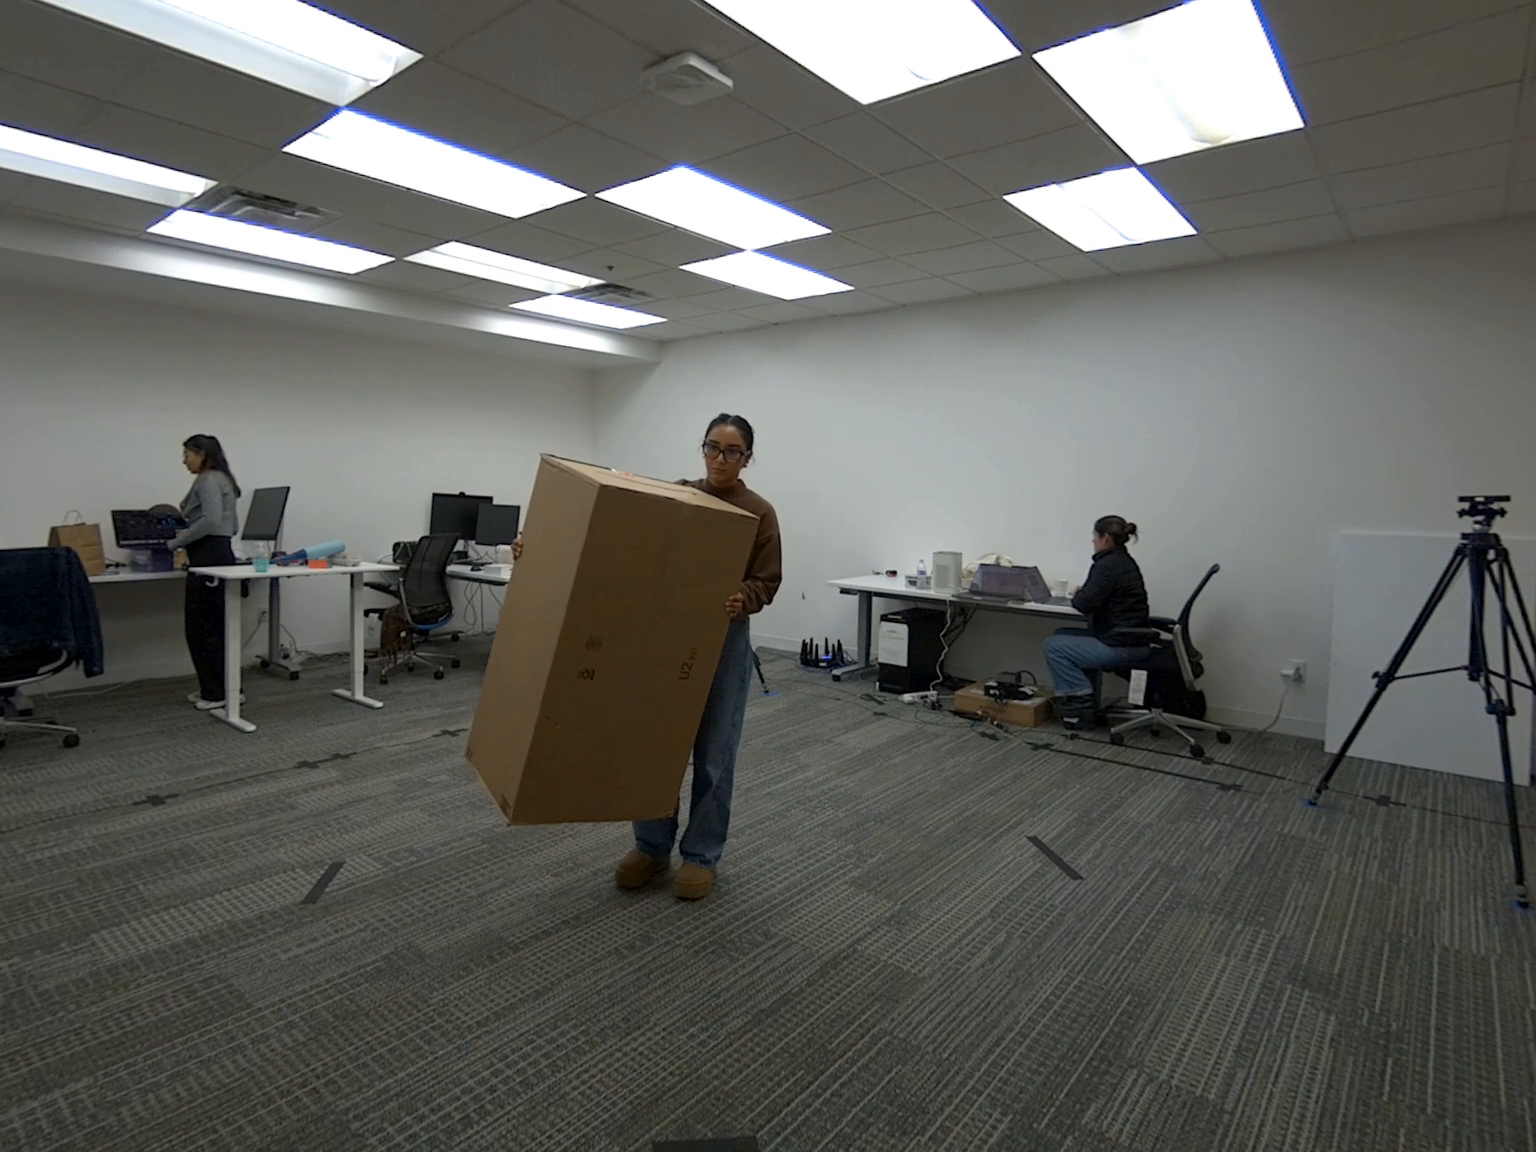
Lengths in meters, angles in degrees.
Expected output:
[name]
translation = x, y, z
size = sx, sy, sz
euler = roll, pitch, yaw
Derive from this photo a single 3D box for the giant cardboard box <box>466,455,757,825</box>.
[giant cardboard box]
translation = -0.517, 0.208, 2.690
size = 0.557, 1.020, 0.443
euler = 10, 10, -38
